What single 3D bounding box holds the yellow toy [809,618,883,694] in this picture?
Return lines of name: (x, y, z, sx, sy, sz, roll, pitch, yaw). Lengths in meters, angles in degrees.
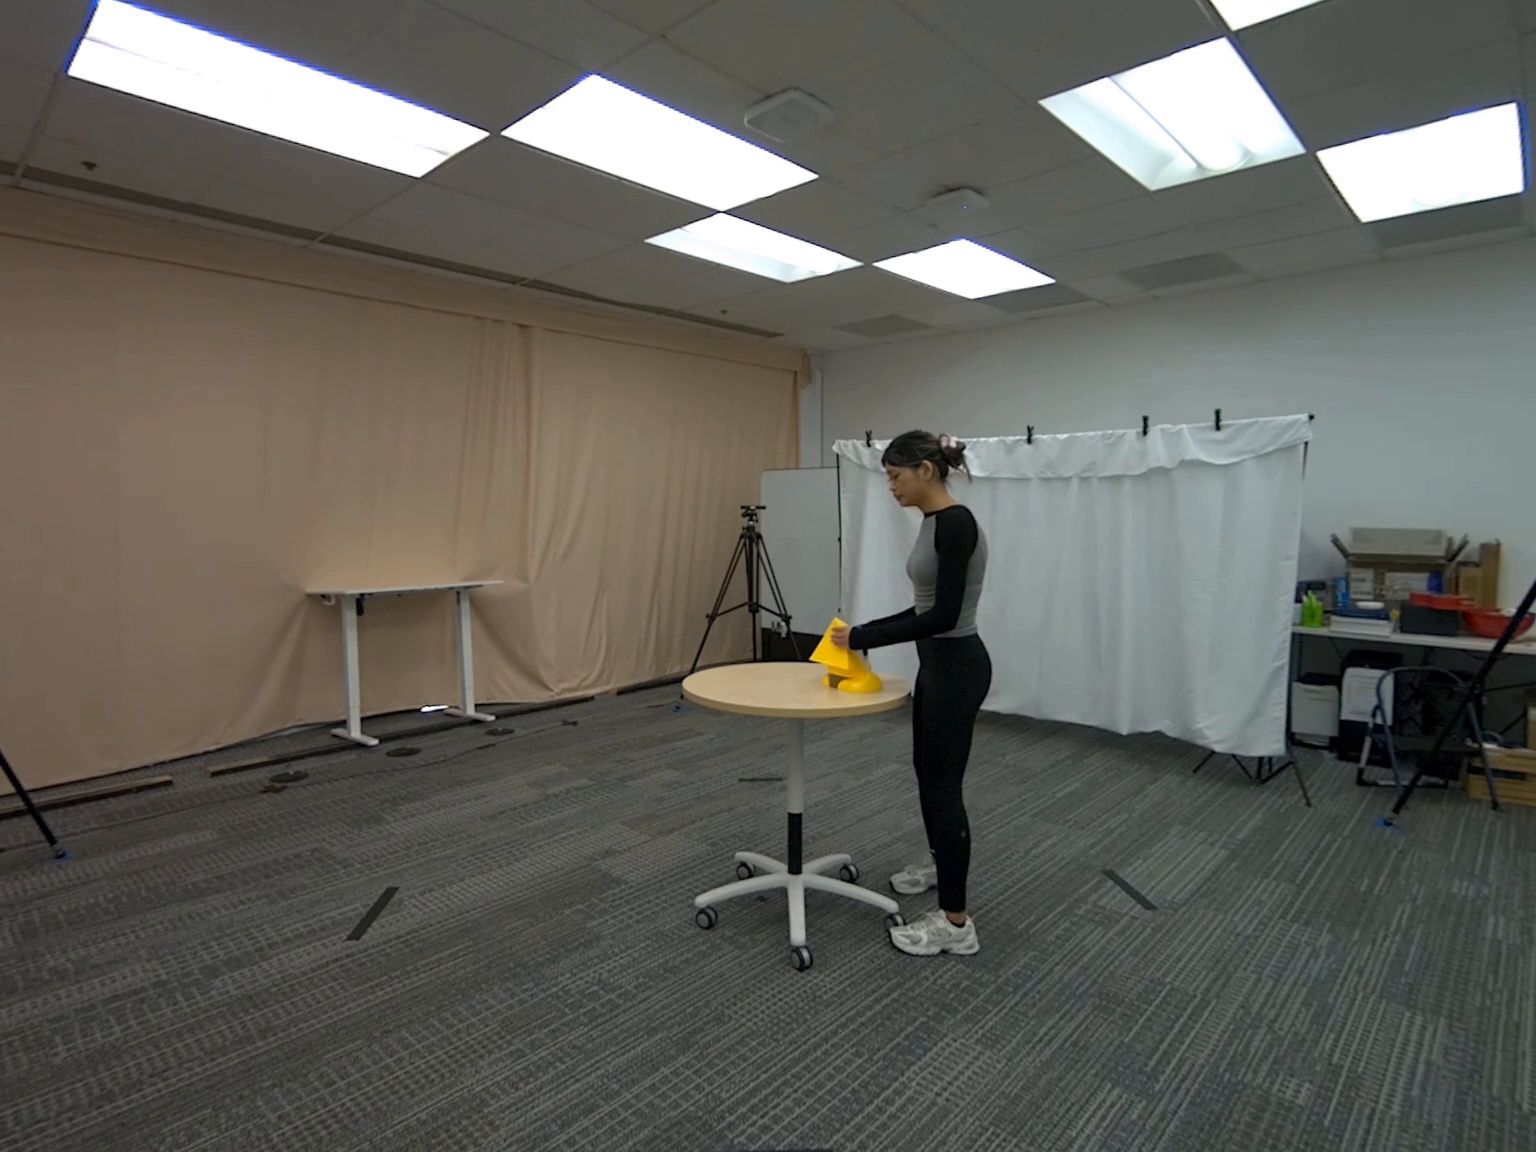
yellow toy: (0.282, 0.256, 2.801, 0.187, 0.230, 0.211, -1, 3, -32)
